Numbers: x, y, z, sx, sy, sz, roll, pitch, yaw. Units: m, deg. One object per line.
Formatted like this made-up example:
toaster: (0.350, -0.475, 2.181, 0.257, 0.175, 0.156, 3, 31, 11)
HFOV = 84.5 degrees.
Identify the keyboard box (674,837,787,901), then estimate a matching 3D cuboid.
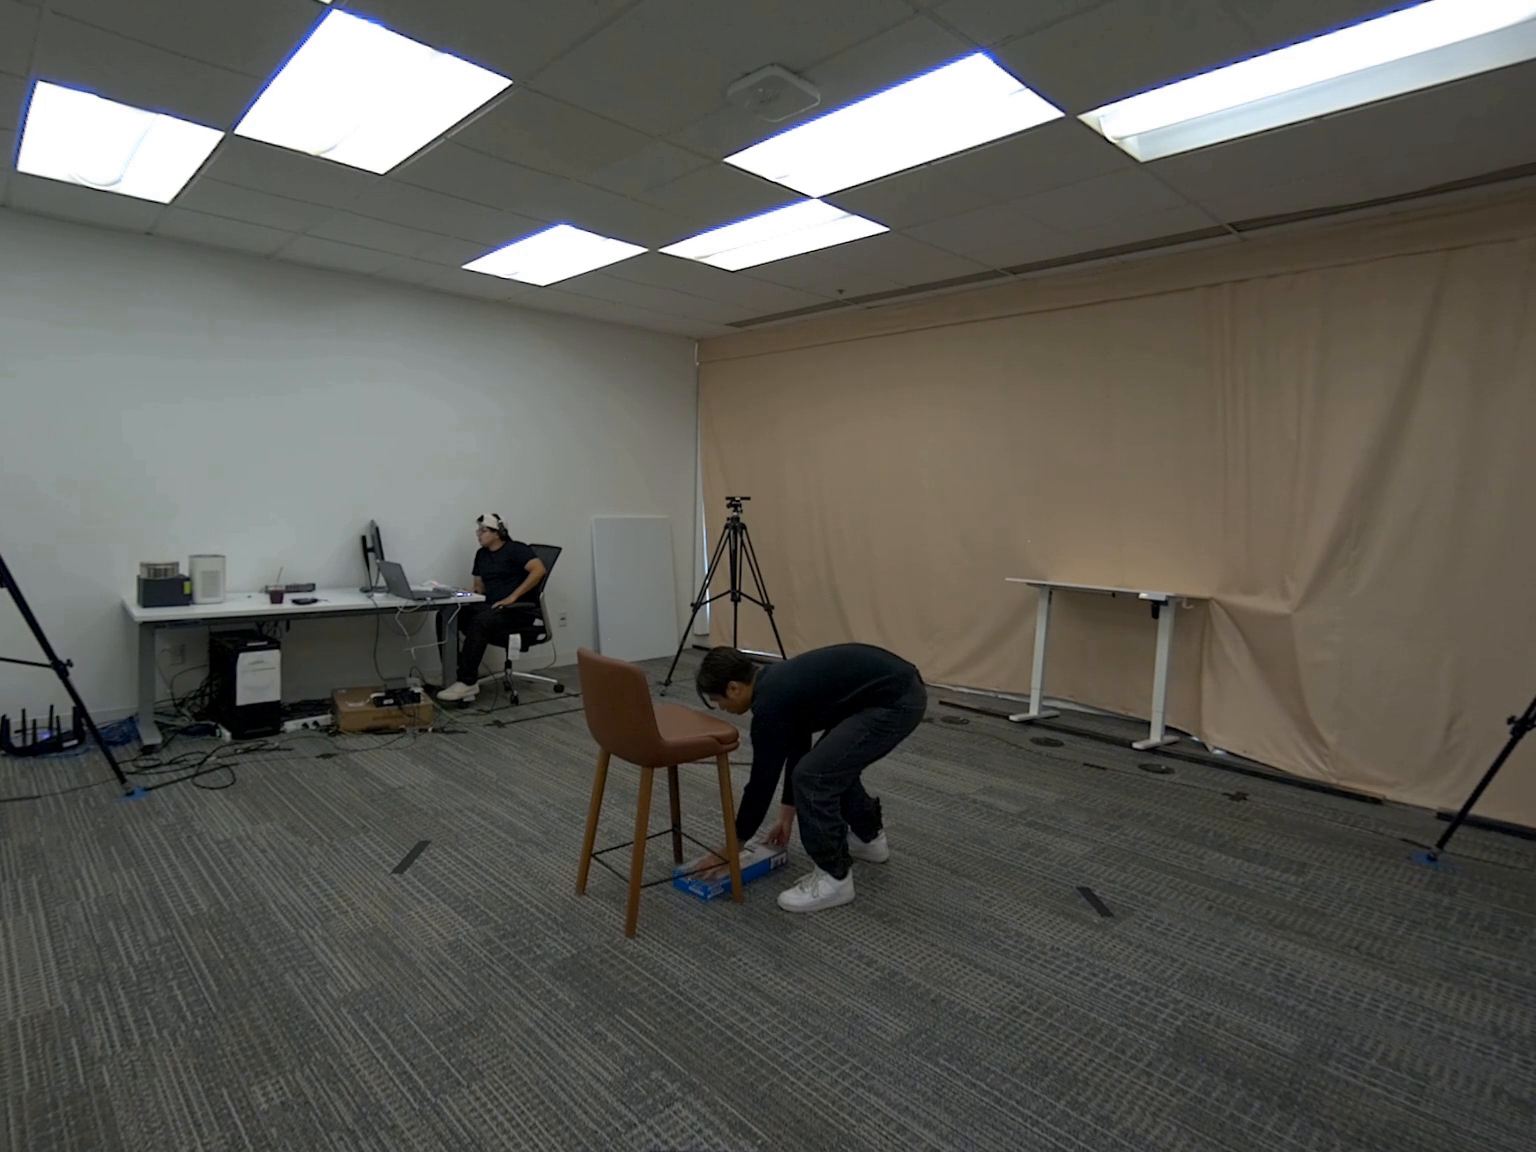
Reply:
keyboard box: (-0.137, 1.078, 3.110, 0.180, 0.059, 0.427, 6, 8, 43)
